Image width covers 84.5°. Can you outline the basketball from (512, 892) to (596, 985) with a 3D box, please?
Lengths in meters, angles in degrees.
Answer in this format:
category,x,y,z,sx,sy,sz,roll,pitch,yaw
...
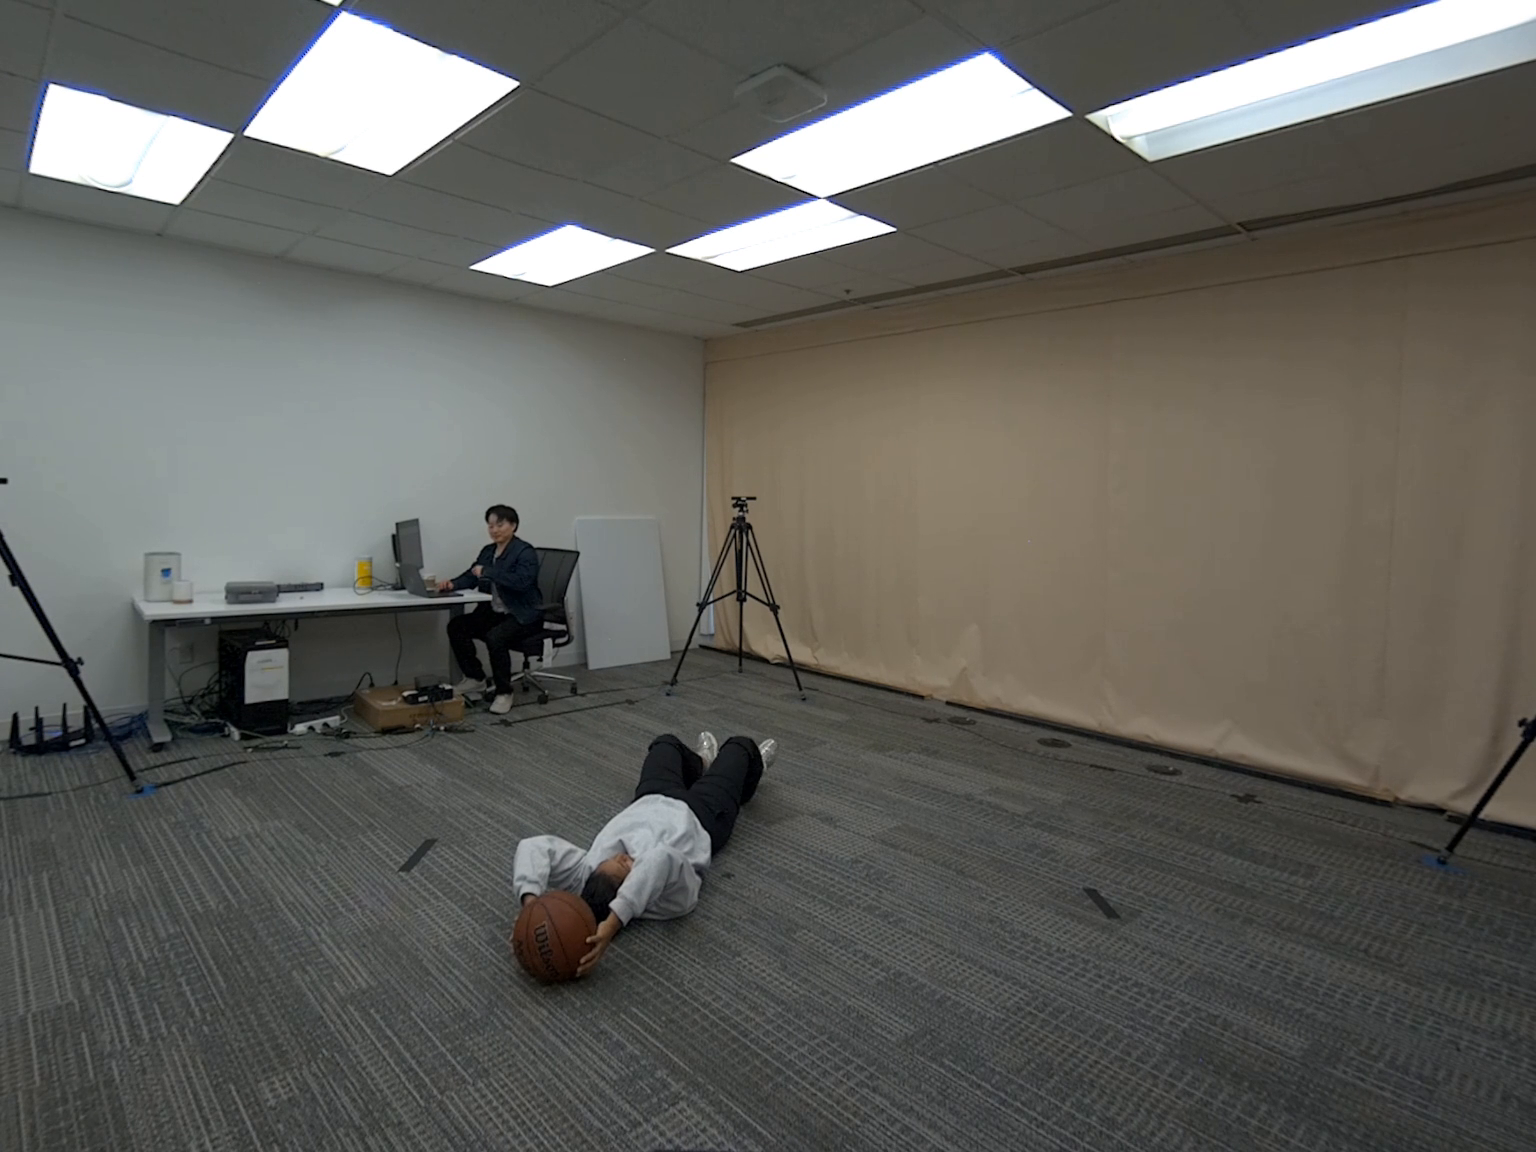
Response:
category,x,y,z,sx,sy,sz,roll,pitch,yaw
basketball,-0.619,1.033,2.427,0.235,0.235,0.237,4,7,-2
